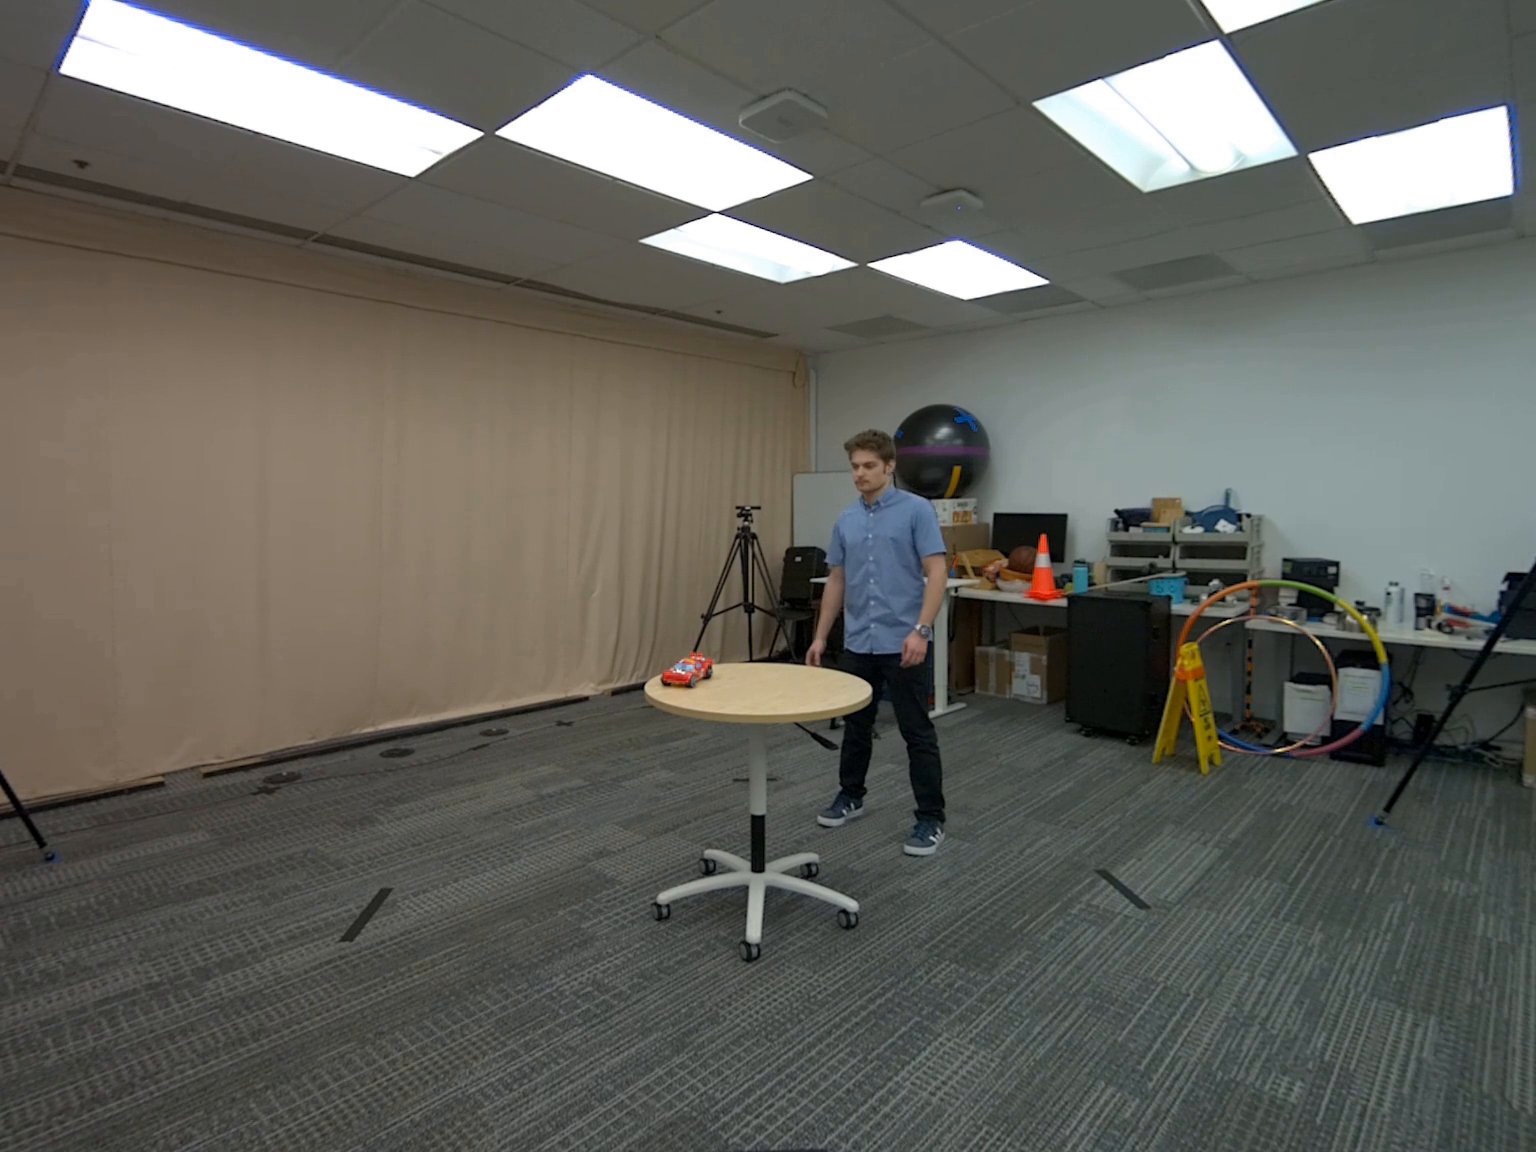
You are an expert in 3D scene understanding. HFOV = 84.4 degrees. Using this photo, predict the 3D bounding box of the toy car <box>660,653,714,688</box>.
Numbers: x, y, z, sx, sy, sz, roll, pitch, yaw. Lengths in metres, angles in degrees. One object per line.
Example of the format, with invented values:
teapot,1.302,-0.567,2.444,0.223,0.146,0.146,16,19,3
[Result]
toy car,-0.267,0.336,2.926,0.133,0.082,0.252,1,17,19
